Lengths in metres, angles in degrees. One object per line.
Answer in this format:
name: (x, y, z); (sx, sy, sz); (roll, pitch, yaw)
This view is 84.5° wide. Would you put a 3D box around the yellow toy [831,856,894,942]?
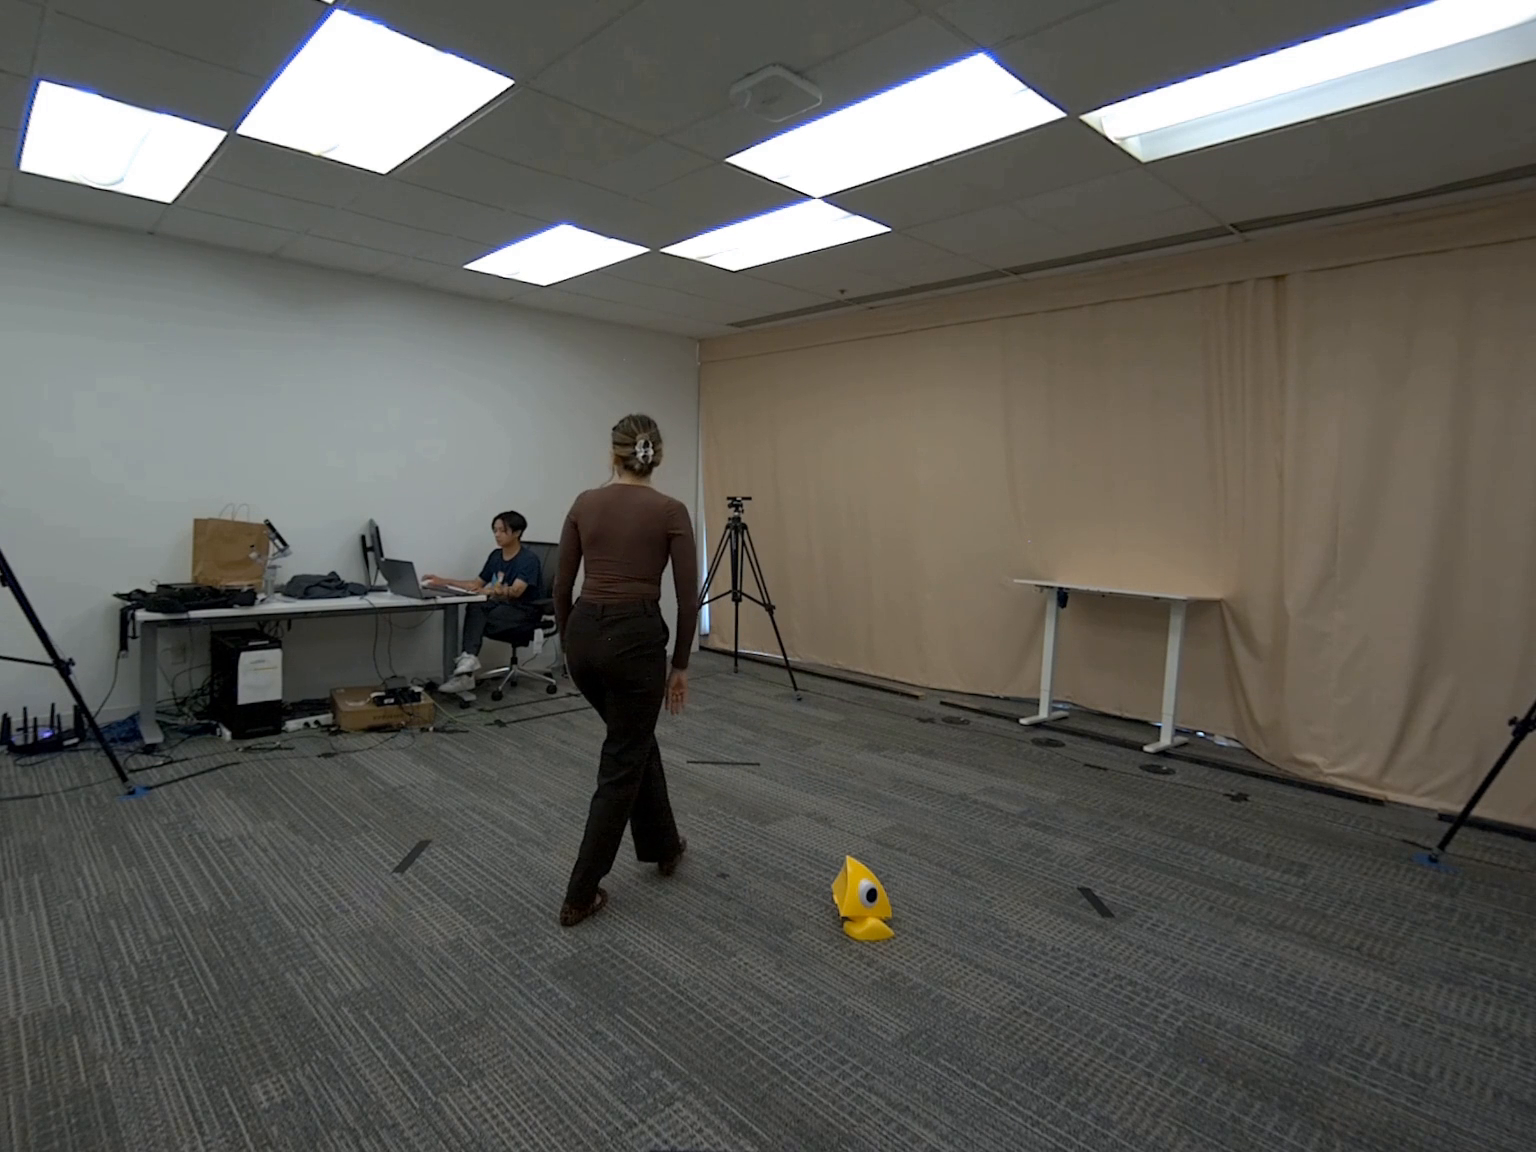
yellow toy: (0.308, 1.033, 2.760); (0.192, 0.230, 0.206); (1, 5, -3)
